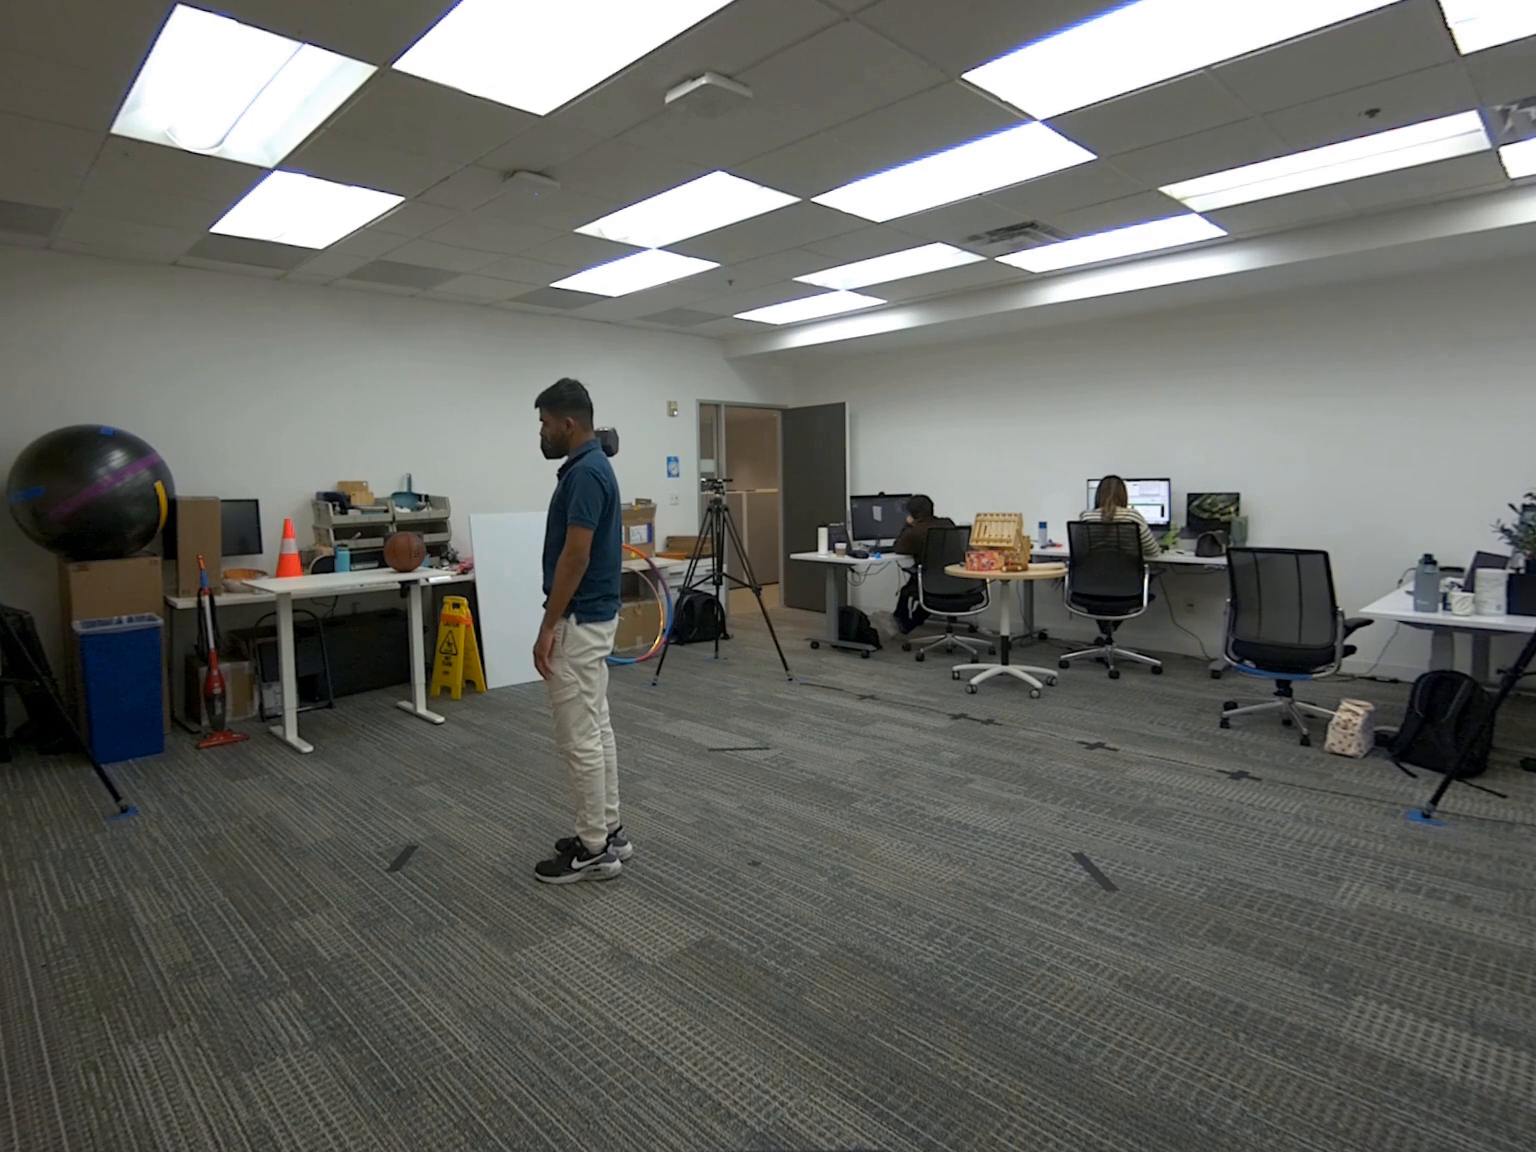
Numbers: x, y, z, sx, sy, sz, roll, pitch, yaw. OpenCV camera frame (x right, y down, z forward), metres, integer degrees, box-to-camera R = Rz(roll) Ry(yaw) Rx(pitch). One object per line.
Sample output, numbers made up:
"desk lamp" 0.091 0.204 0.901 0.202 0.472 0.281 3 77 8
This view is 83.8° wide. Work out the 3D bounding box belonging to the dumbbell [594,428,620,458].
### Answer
"dumbbell" -0.727 -0.525 3.326 0.297 0.107 0.123 0 18 11
